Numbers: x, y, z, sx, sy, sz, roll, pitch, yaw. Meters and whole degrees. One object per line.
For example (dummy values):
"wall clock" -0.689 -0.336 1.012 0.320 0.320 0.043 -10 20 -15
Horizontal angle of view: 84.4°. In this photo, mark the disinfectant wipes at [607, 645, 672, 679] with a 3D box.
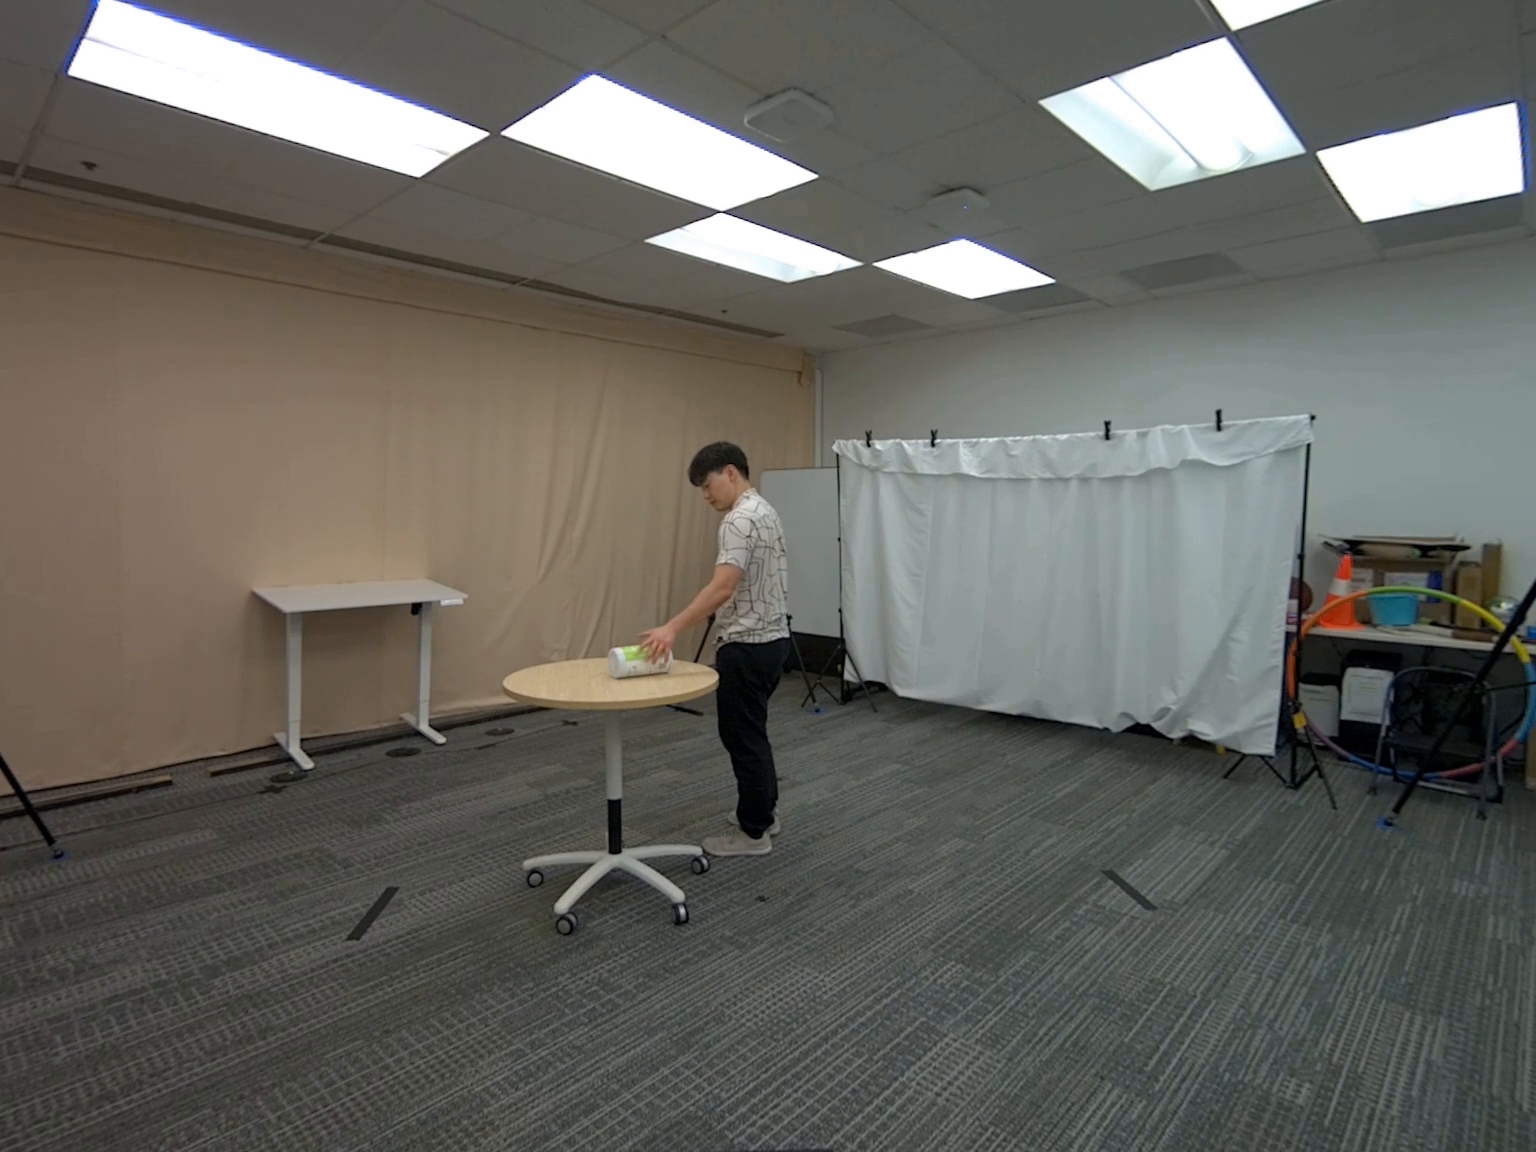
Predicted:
"disinfectant wipes" -0.460 0.304 3.046 0.212 0.117 0.121 -3 5 -29
